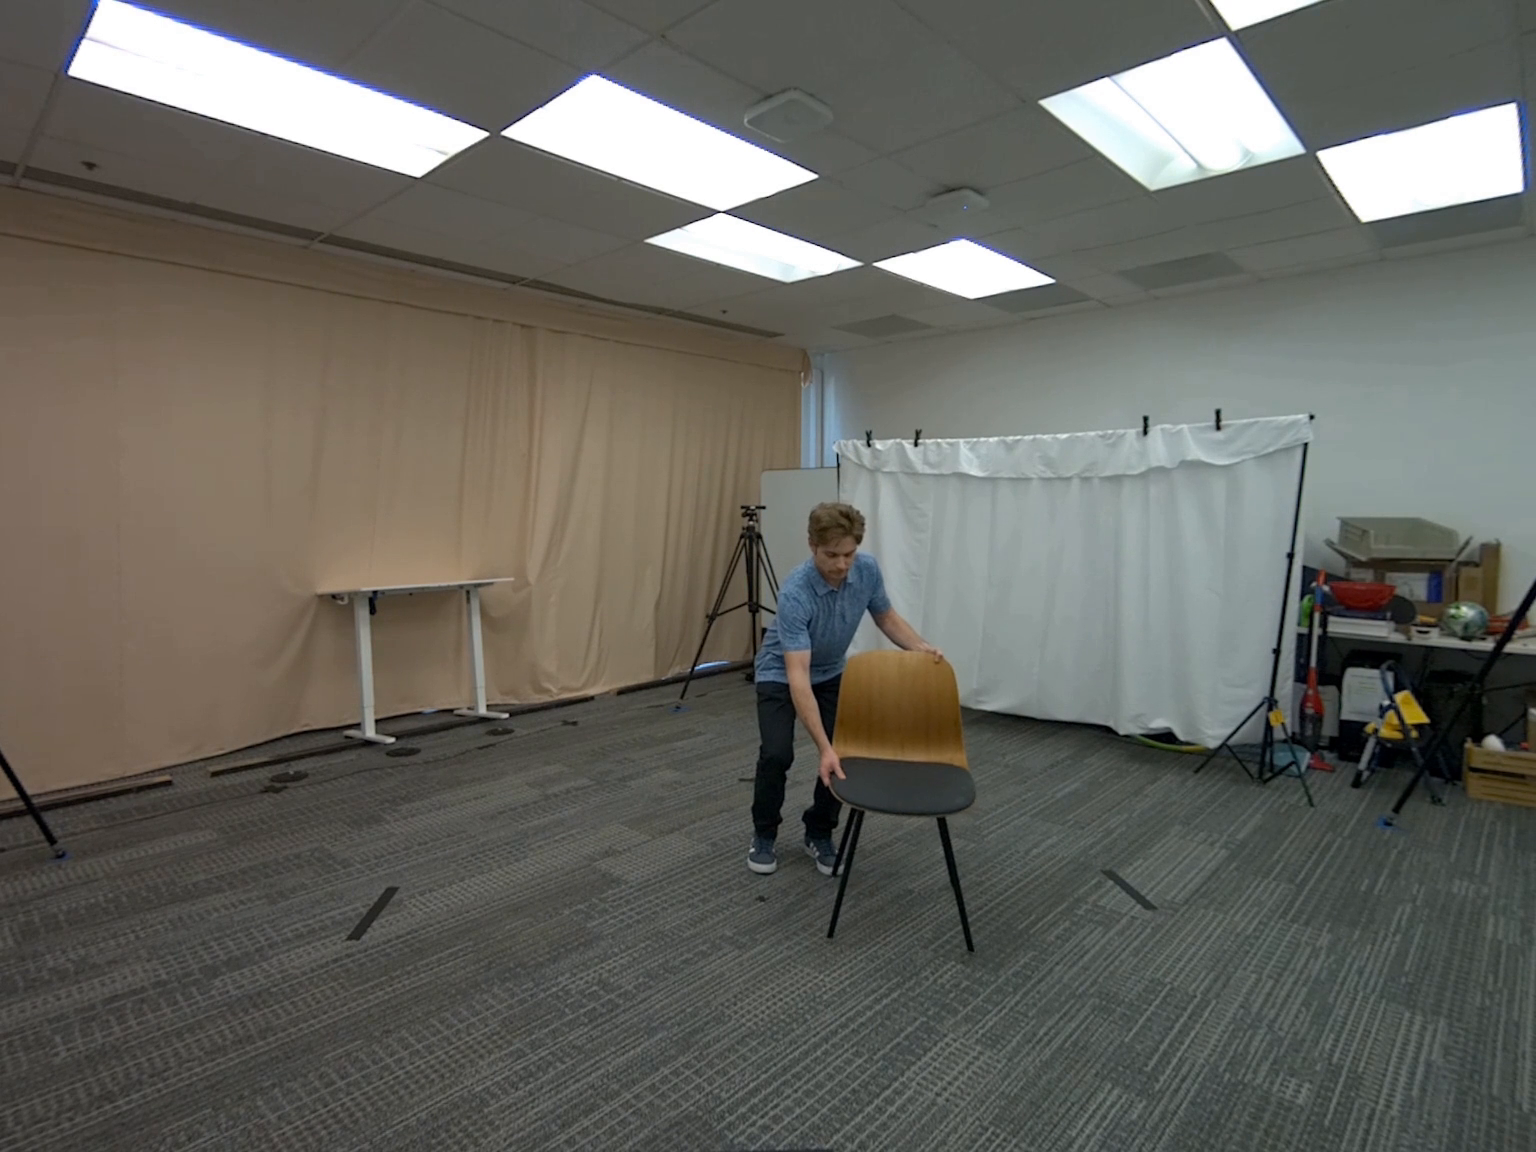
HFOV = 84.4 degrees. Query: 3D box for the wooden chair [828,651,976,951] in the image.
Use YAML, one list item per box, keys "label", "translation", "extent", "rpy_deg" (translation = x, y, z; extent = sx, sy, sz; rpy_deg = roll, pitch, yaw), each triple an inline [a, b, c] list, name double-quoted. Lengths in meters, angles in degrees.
- label: "wooden chair"
  translation: [0.448, 0.714, 2.817]
  extent: [0.483, 0.877, 0.518]
  rpy_deg: [2, 1, 8]
